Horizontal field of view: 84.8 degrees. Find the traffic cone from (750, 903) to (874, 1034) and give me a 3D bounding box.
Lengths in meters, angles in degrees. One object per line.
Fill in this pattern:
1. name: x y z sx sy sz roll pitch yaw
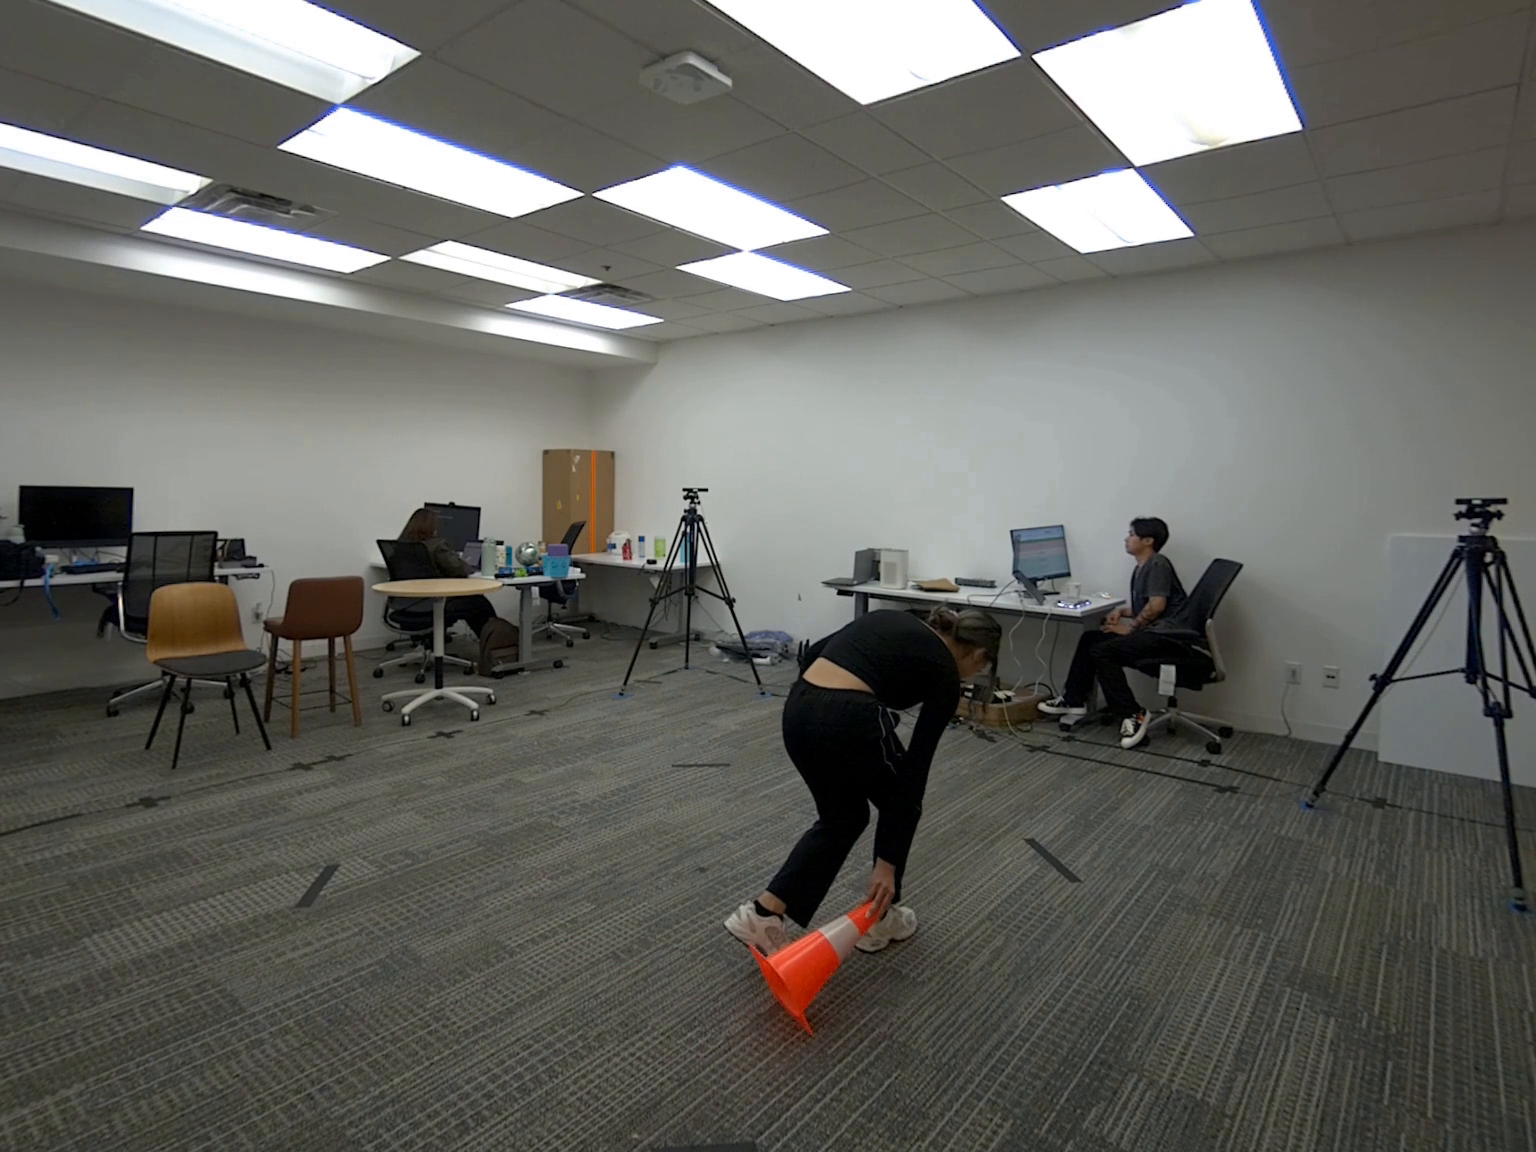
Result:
1. traffic cone: 0.174 0.980 2.302 0.380 0.198 0.212 -32 23 -21
